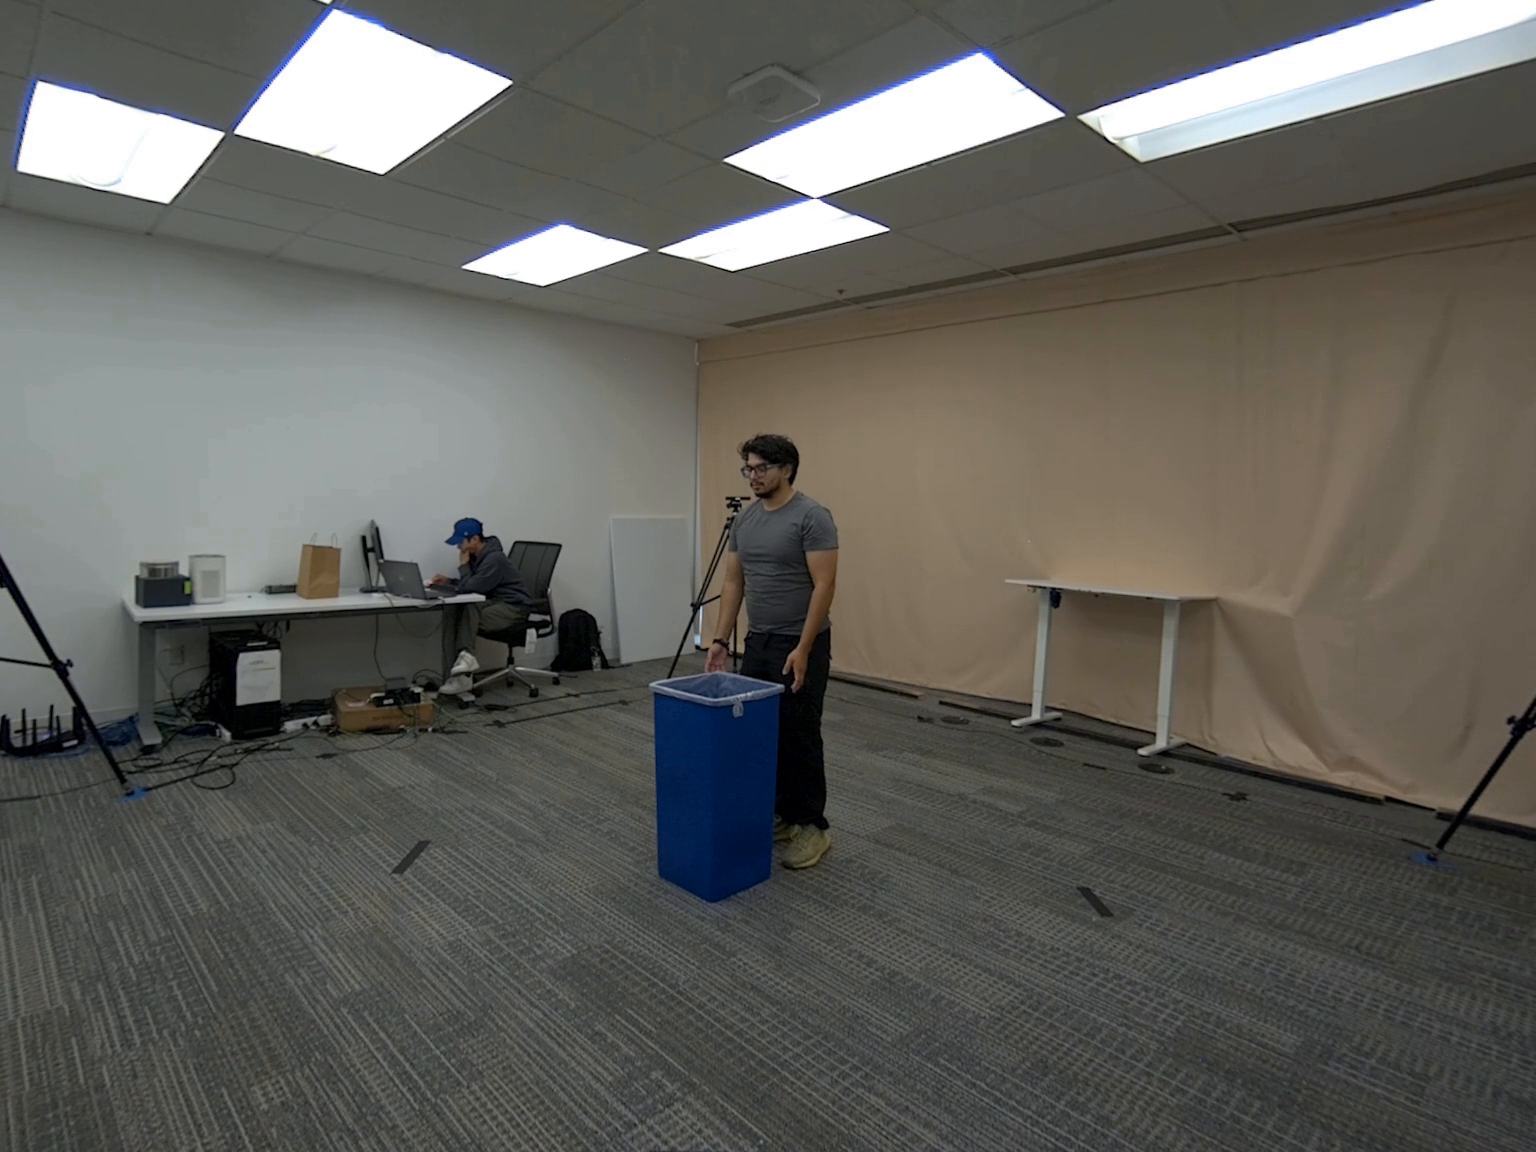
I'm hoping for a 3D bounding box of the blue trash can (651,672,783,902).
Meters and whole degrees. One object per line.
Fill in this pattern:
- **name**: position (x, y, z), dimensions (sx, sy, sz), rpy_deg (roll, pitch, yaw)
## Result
- **blue trash can**: position (-0.197, 0.751, 3.083), dimensions (0.387, 0.712, 0.365), rpy_deg (4, 4, 42)
